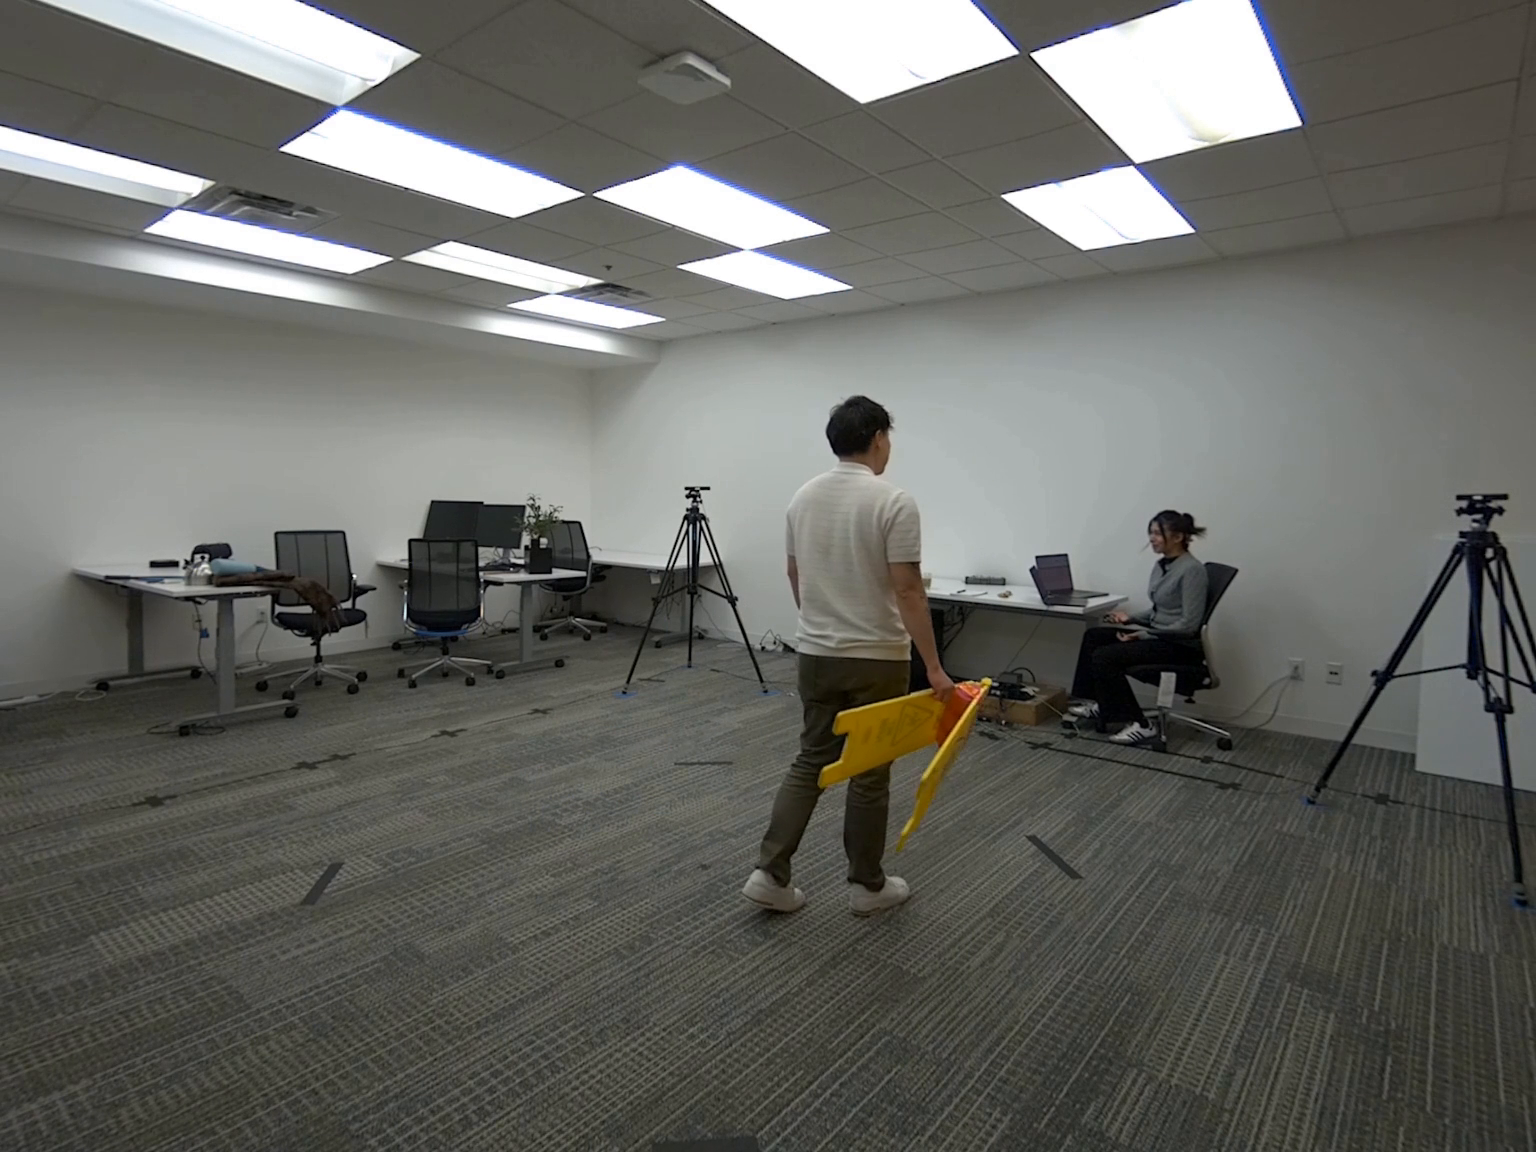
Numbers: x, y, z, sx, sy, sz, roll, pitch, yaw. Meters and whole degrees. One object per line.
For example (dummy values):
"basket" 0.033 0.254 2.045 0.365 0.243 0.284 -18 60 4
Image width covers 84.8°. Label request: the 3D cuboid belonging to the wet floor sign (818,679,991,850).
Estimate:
"wet floor sign" 0.479 0.492 2.602 0.301 0.277 0.633 33 37 33
